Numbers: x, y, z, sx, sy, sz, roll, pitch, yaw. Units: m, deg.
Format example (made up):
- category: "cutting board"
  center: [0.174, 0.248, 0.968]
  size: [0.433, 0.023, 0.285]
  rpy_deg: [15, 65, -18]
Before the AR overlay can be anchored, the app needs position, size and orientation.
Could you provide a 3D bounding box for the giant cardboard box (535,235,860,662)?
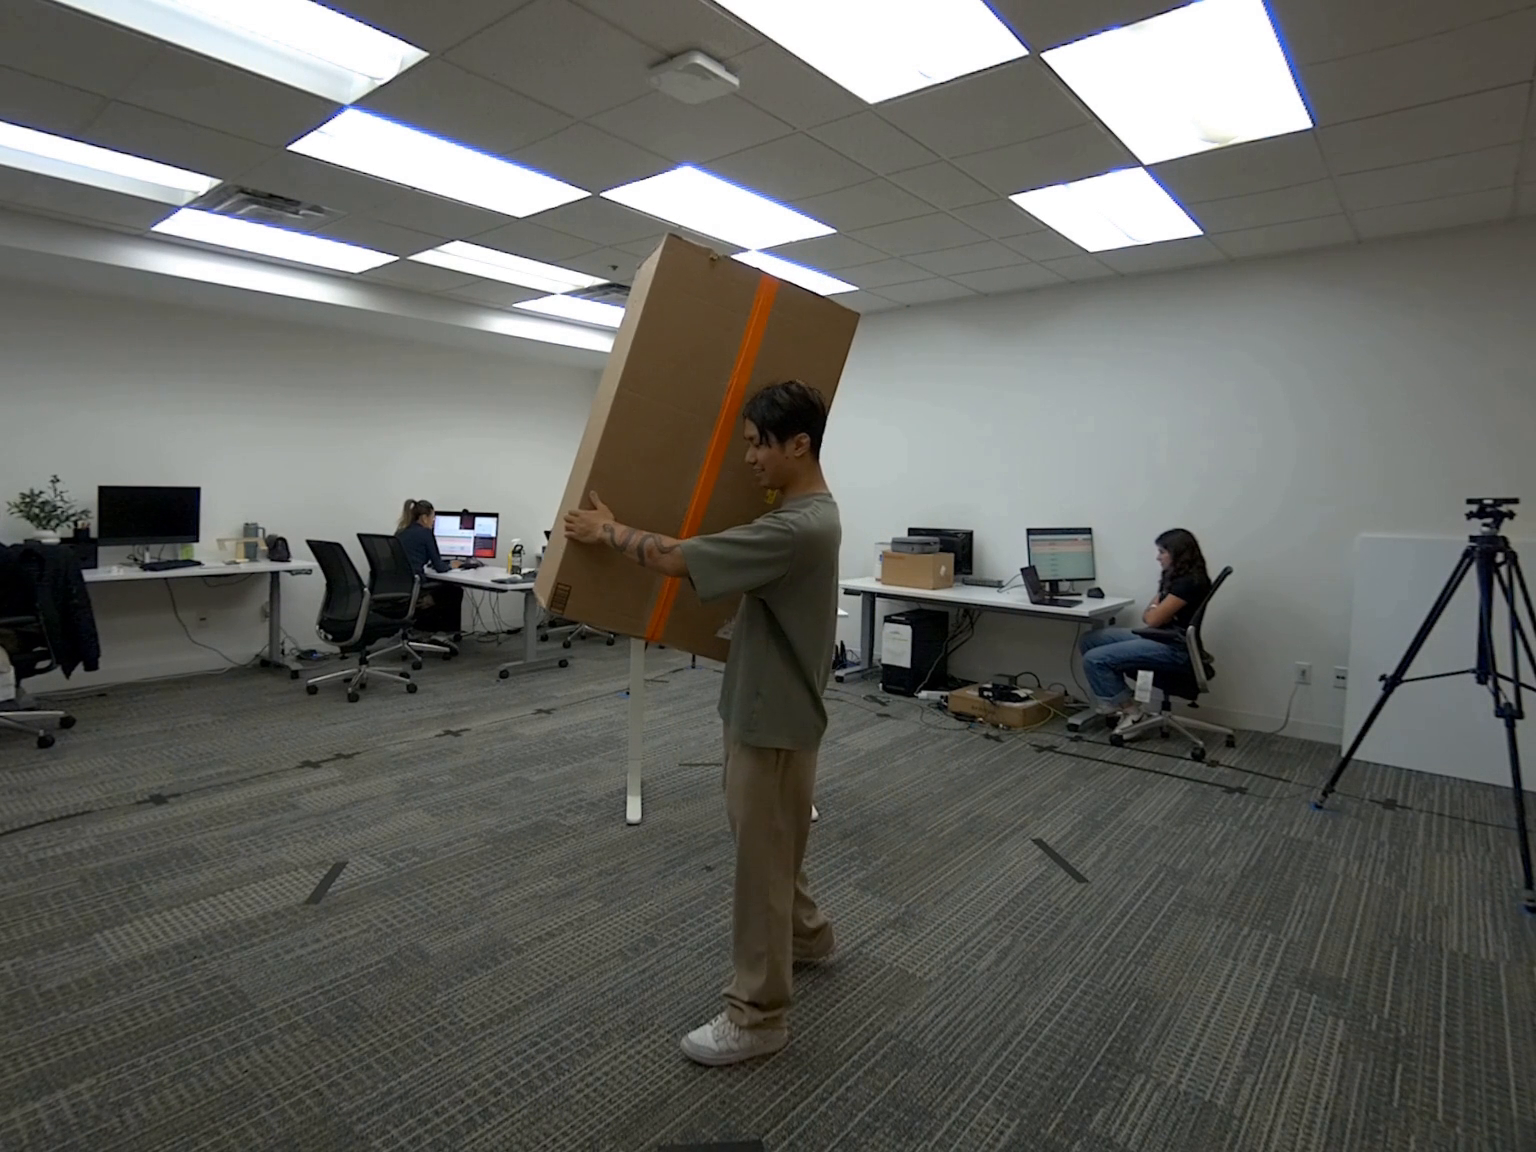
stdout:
- category: "giant cardboard box"
  center: [-0.232, -0.337, 2.433]
  size: [0.565, 1.026, 0.436]
  rpy_deg: [18, 0, -18]
